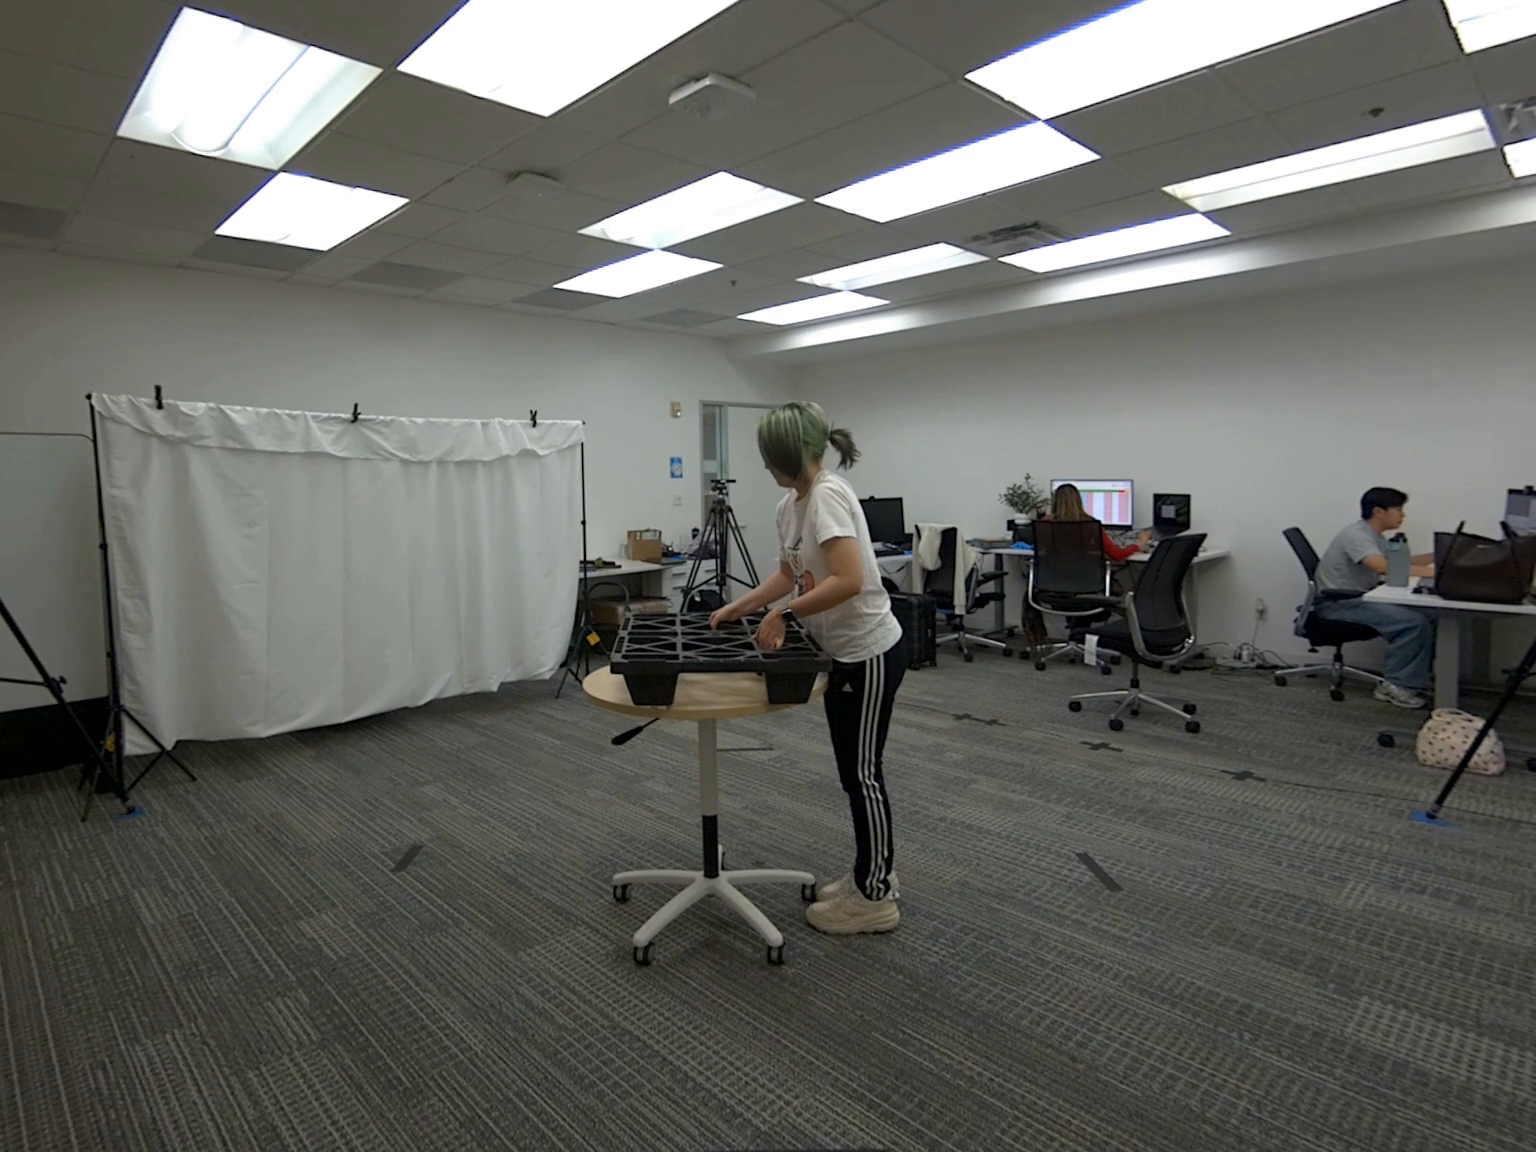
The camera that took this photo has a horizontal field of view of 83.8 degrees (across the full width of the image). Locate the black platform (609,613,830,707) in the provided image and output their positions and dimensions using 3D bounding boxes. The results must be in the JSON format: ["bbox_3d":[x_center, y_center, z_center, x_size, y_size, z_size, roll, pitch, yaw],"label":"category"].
[{"bbox_3d":[-0.164,0.236,2.676,0.603,0.142,0.813,0,7,-5],"label":"black platform"}]
